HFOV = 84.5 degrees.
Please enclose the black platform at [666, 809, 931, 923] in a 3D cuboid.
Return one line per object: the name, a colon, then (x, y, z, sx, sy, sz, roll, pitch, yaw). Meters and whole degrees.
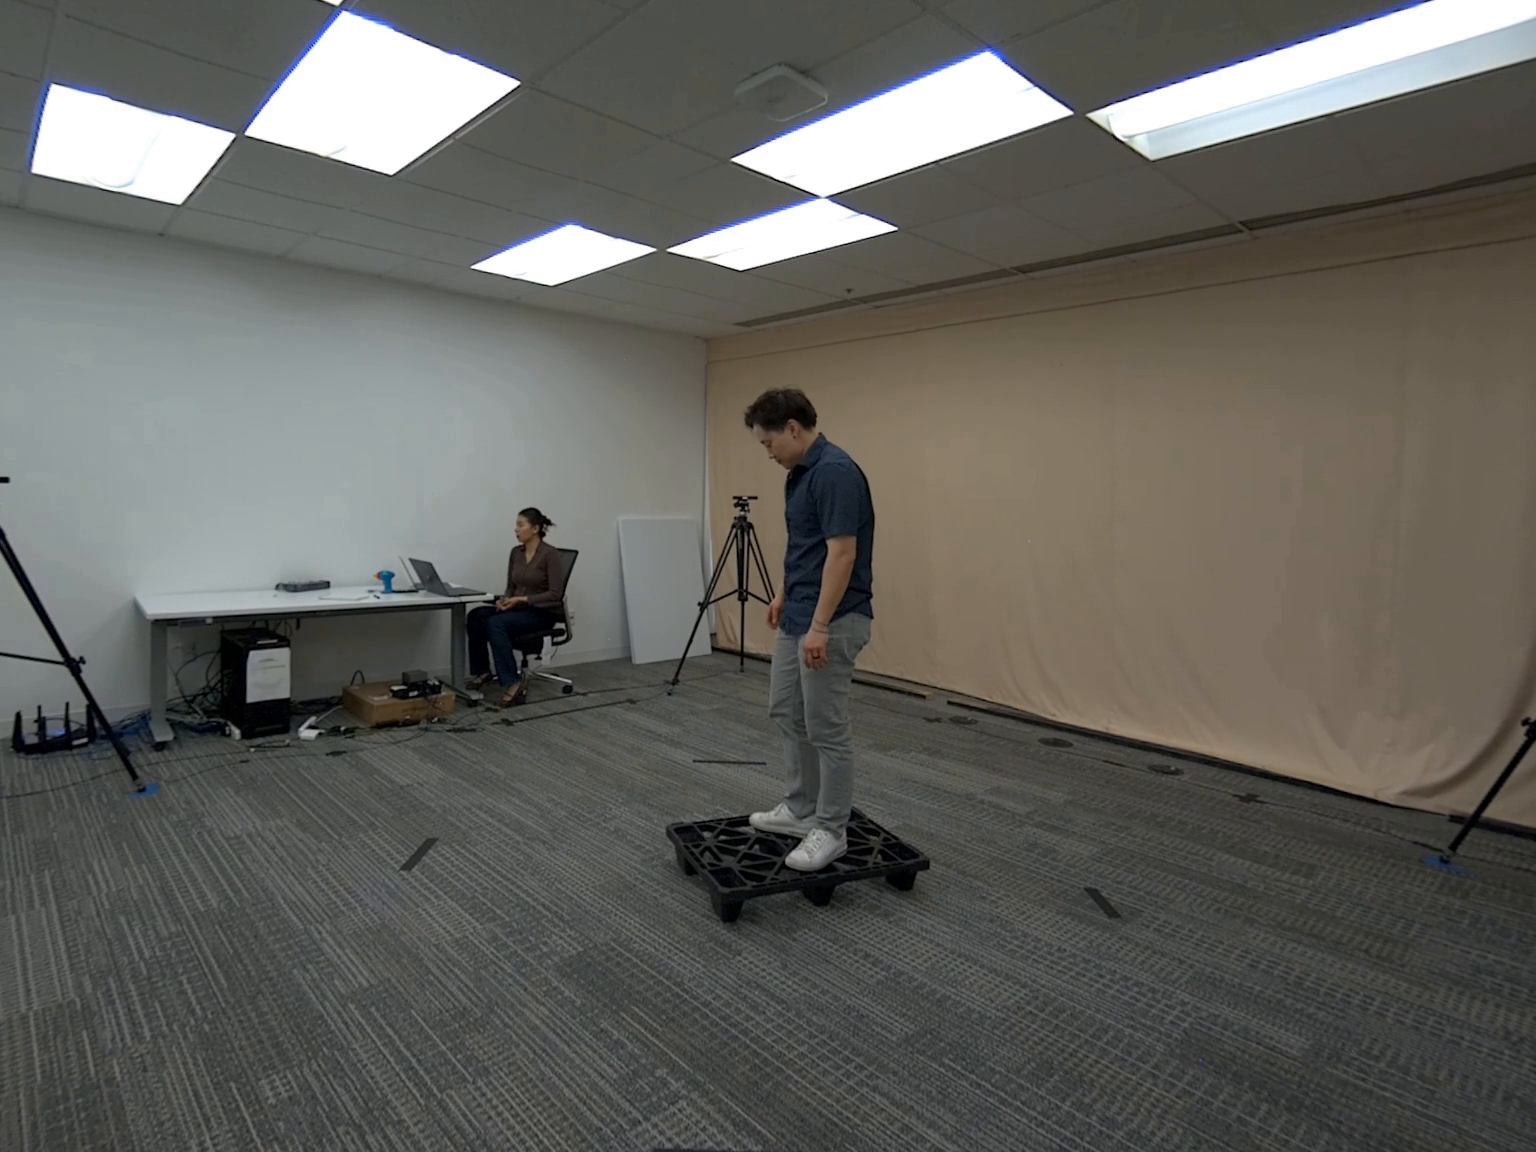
black platform: (0.089, 1.043, 3.092, 0.792, 0.143, 0.617, -1, 6, -23)
